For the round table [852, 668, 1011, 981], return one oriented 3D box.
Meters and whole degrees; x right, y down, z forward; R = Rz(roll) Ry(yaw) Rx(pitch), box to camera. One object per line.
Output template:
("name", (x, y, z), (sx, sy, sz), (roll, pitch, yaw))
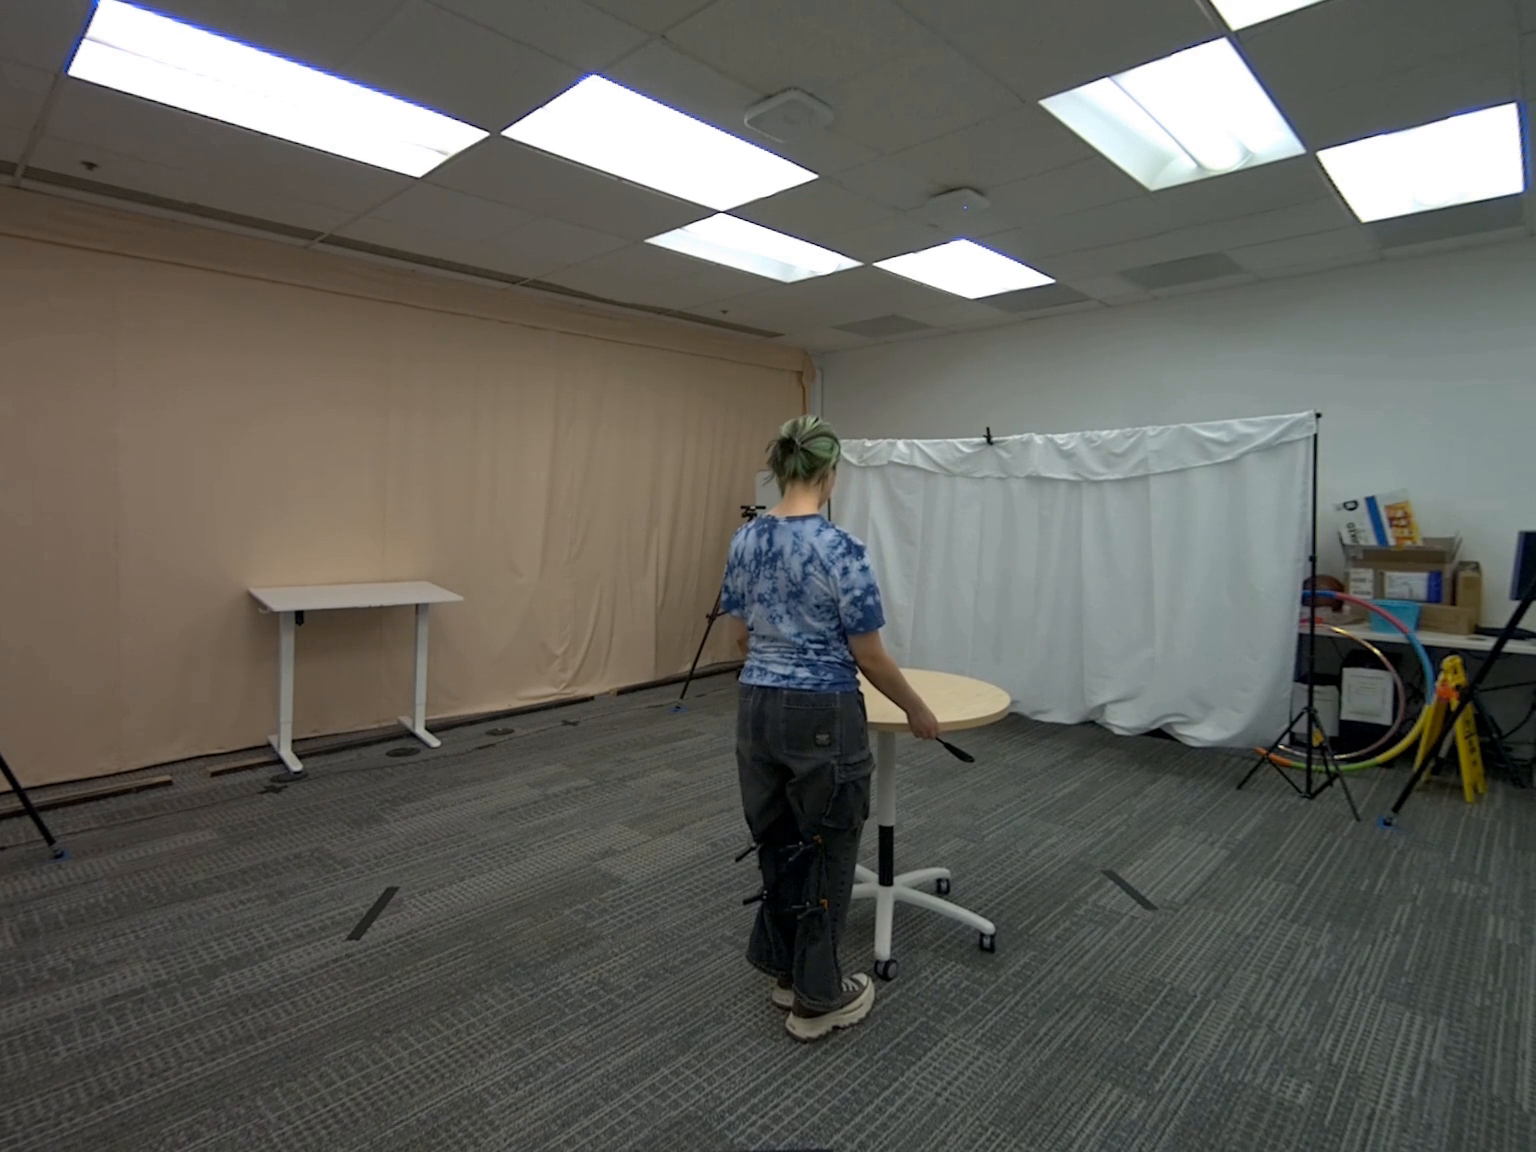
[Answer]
("round table", (0.397, 0.772, 2.781), (0.763, 0.792, 0.767), (0, 4, -2))
